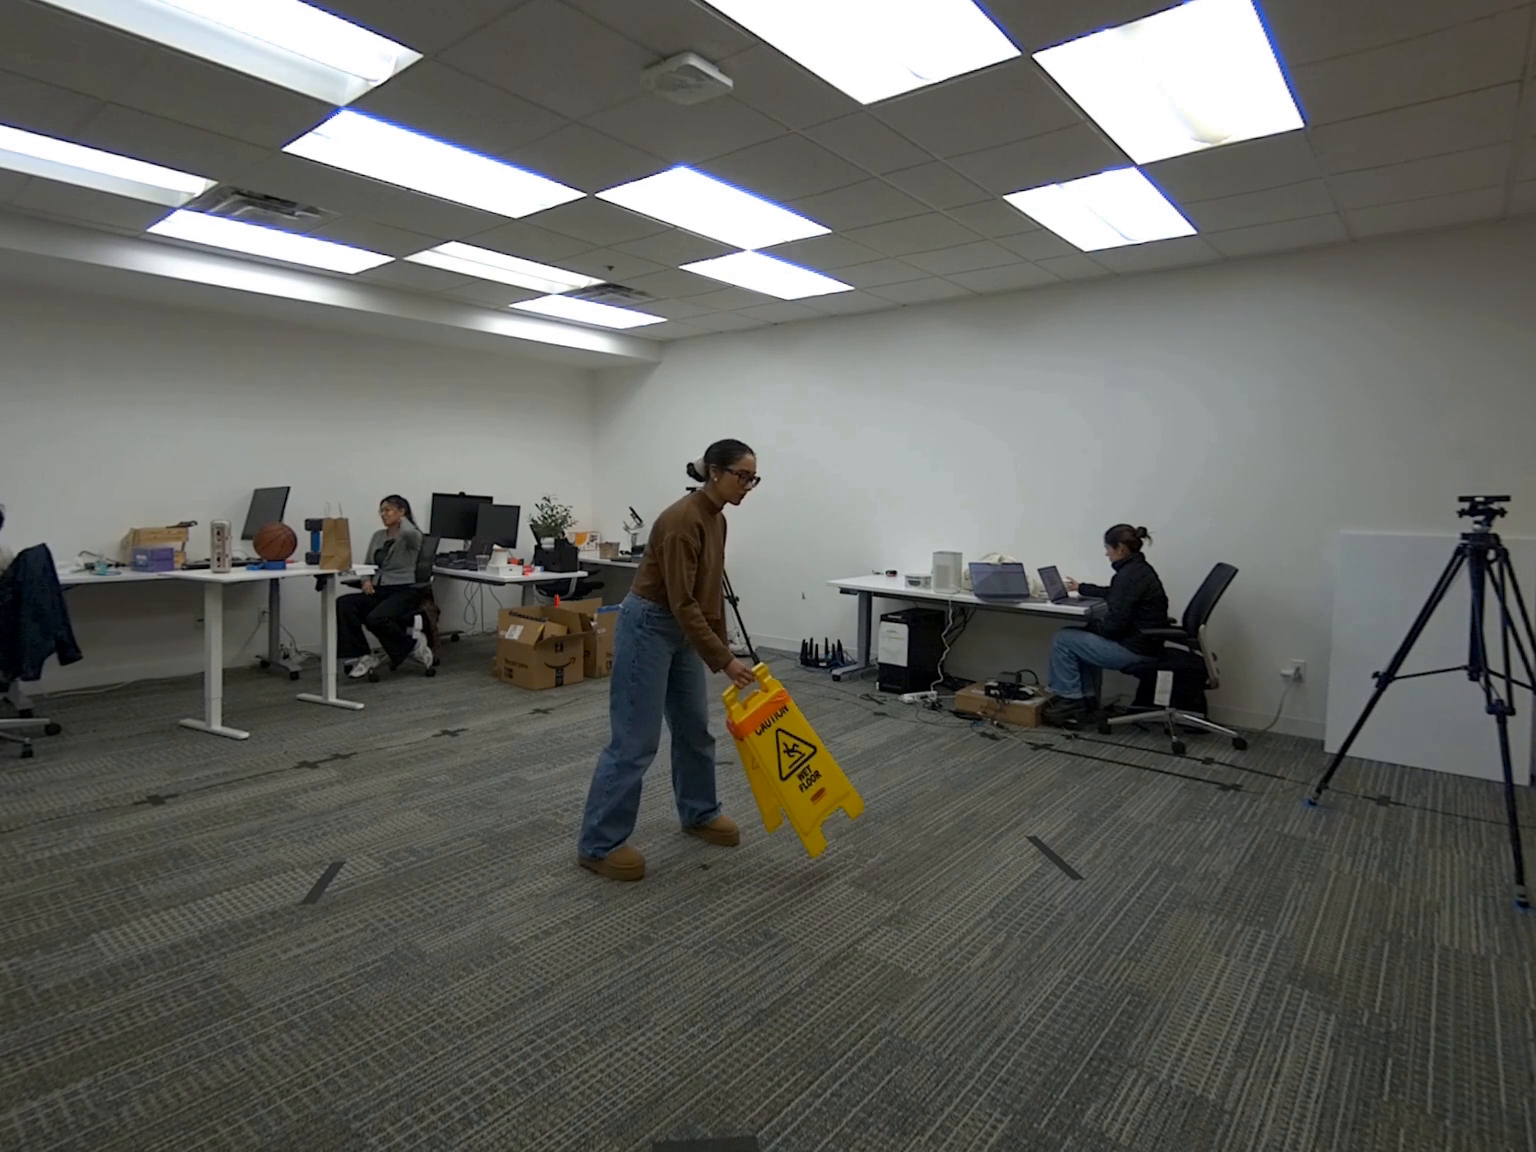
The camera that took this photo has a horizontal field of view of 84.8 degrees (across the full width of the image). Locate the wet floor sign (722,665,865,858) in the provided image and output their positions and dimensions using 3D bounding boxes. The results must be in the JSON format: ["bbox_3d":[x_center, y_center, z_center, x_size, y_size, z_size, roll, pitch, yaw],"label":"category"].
[{"bbox_3d":[0.028,0.628,3.026,0.280,0.631,0.299,-35,20,-26],"label":"wet floor sign"}]
